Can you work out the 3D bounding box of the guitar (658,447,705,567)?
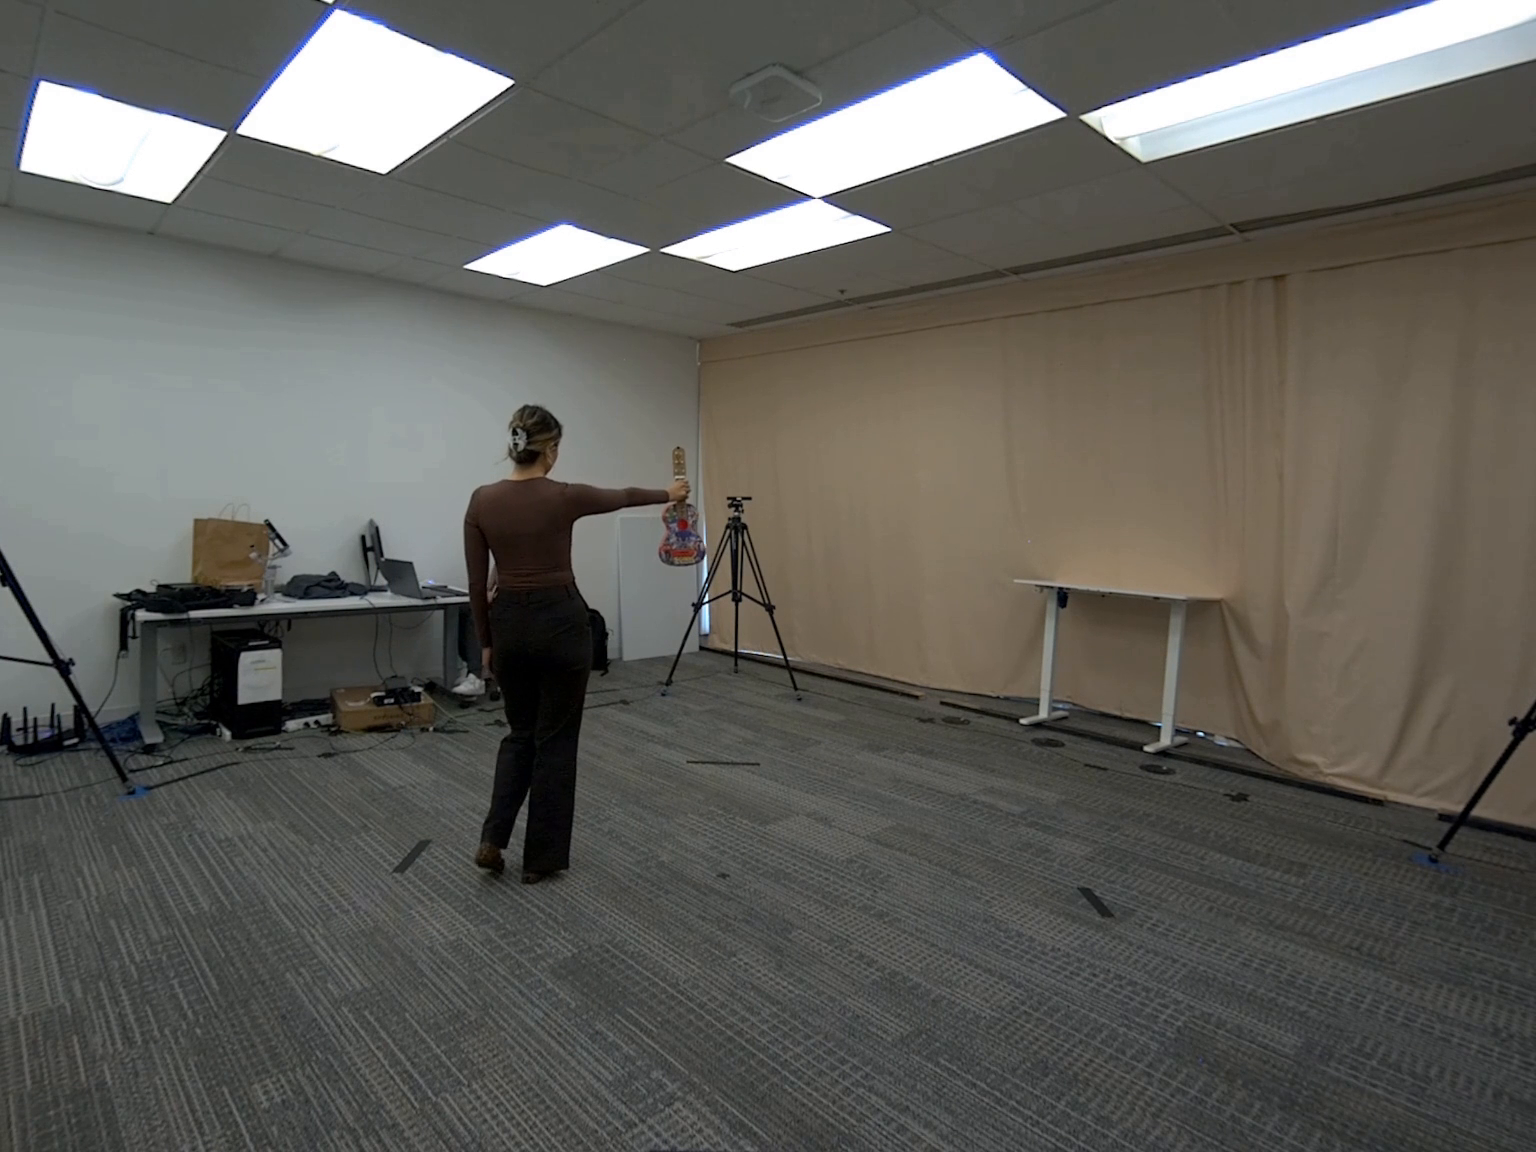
[{"bbox_3d":[-0.345,-0.285,3.539,0.191,0.497,0.071,7,1,-10],"label":"guitar"}]
